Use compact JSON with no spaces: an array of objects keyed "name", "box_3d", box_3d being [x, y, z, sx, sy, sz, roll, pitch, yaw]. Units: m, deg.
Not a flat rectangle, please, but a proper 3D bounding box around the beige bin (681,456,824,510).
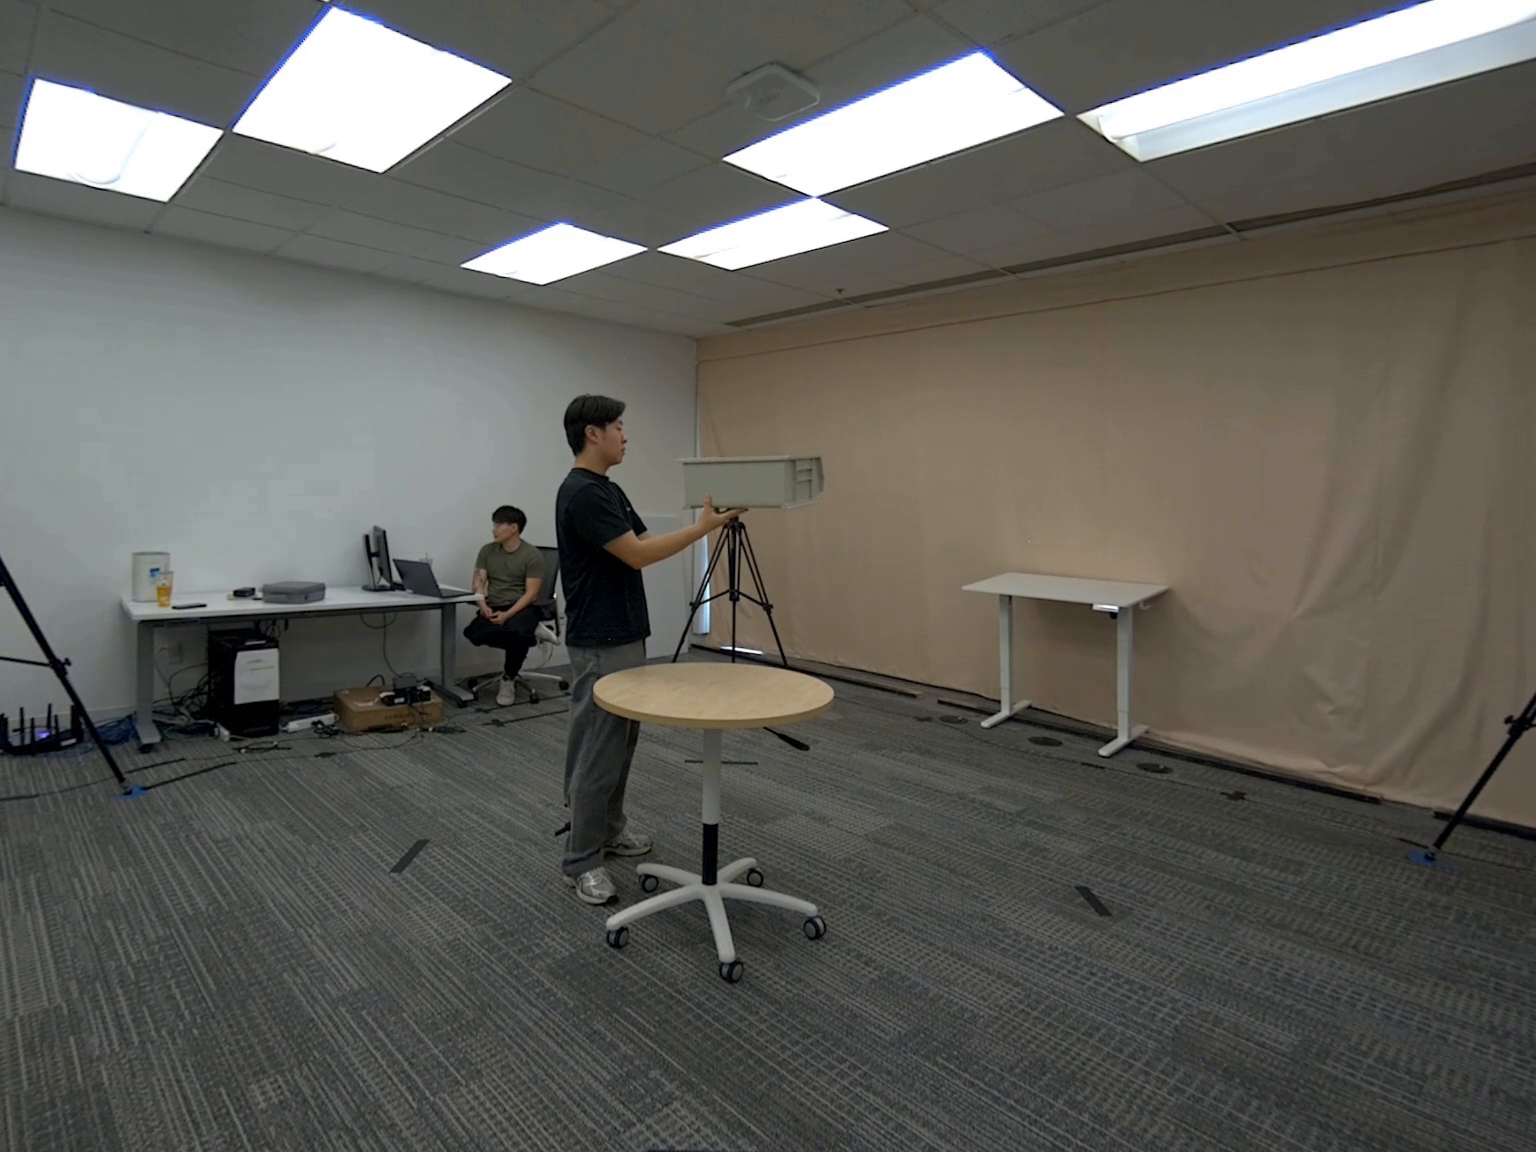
[{"name":"beige bin","box_3d":[-0.058,-0.348,3.065,0.430,0.188,0.373,3,9,23]}]
